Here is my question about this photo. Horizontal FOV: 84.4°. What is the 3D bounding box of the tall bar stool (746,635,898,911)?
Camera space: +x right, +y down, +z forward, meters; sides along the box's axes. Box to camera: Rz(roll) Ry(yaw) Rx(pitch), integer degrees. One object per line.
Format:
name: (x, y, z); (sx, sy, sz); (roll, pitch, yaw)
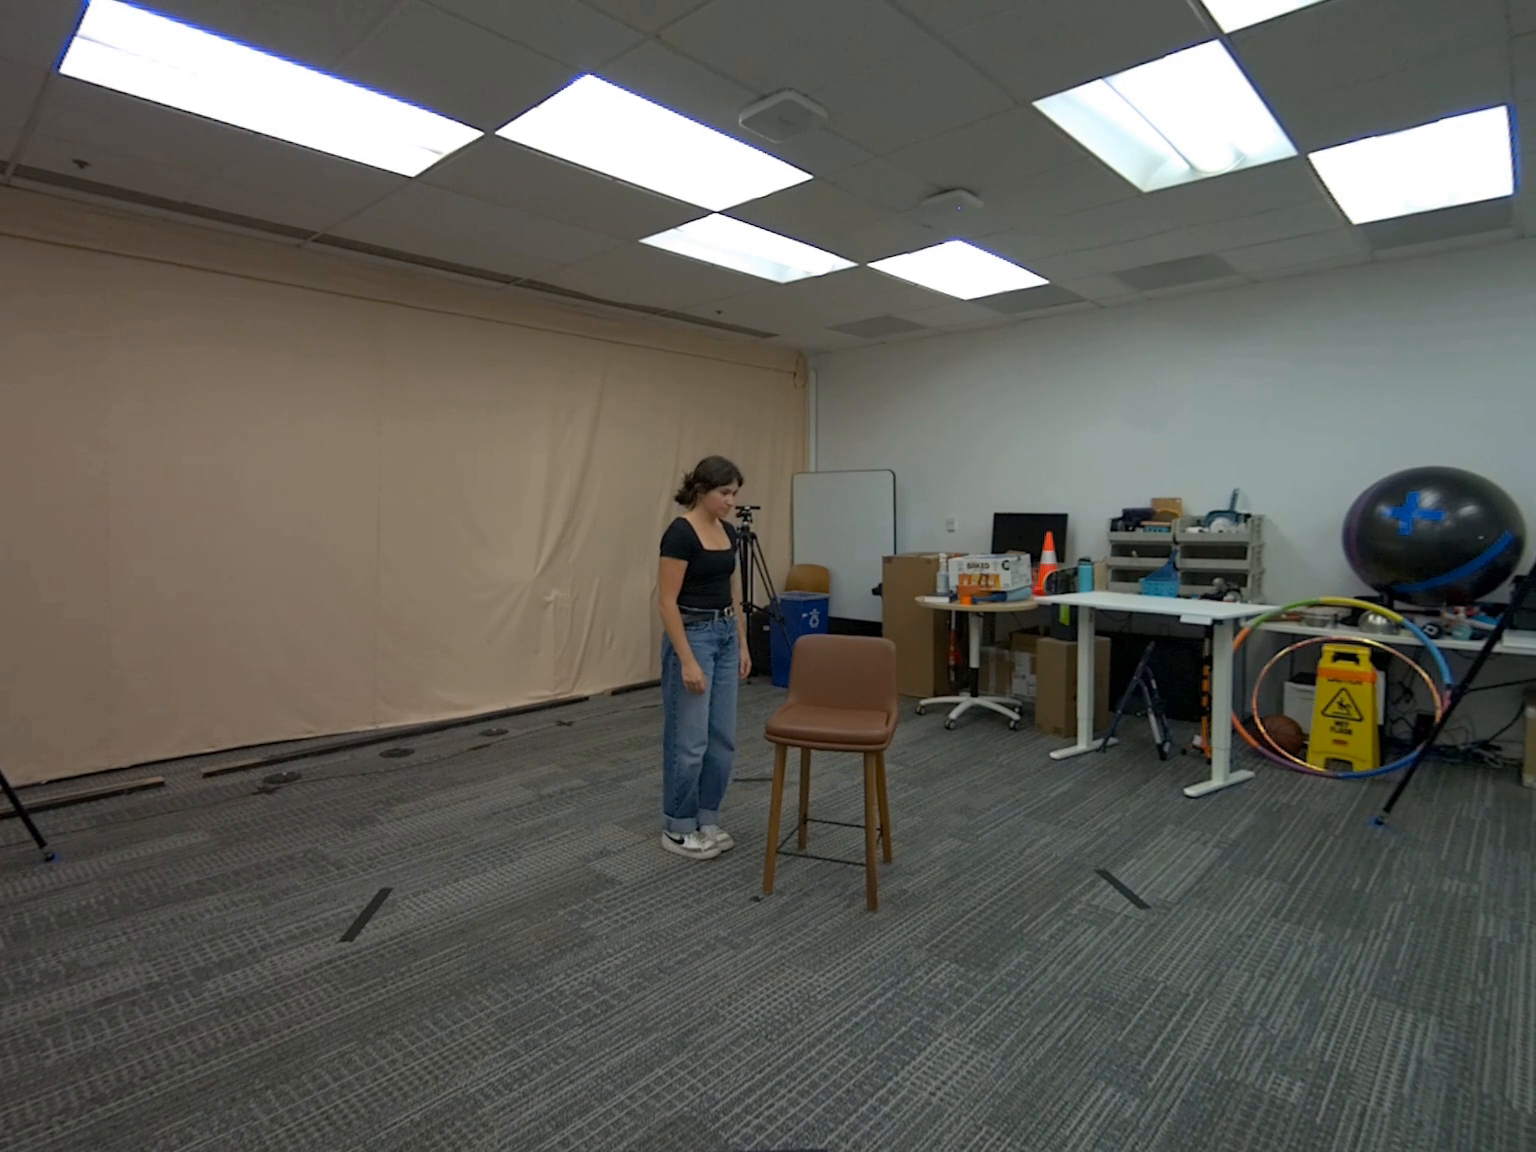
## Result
tall bar stool: (0.251, 0.696, 3.141); (0.467, 0.888, 0.458); (2, 2, 20)
